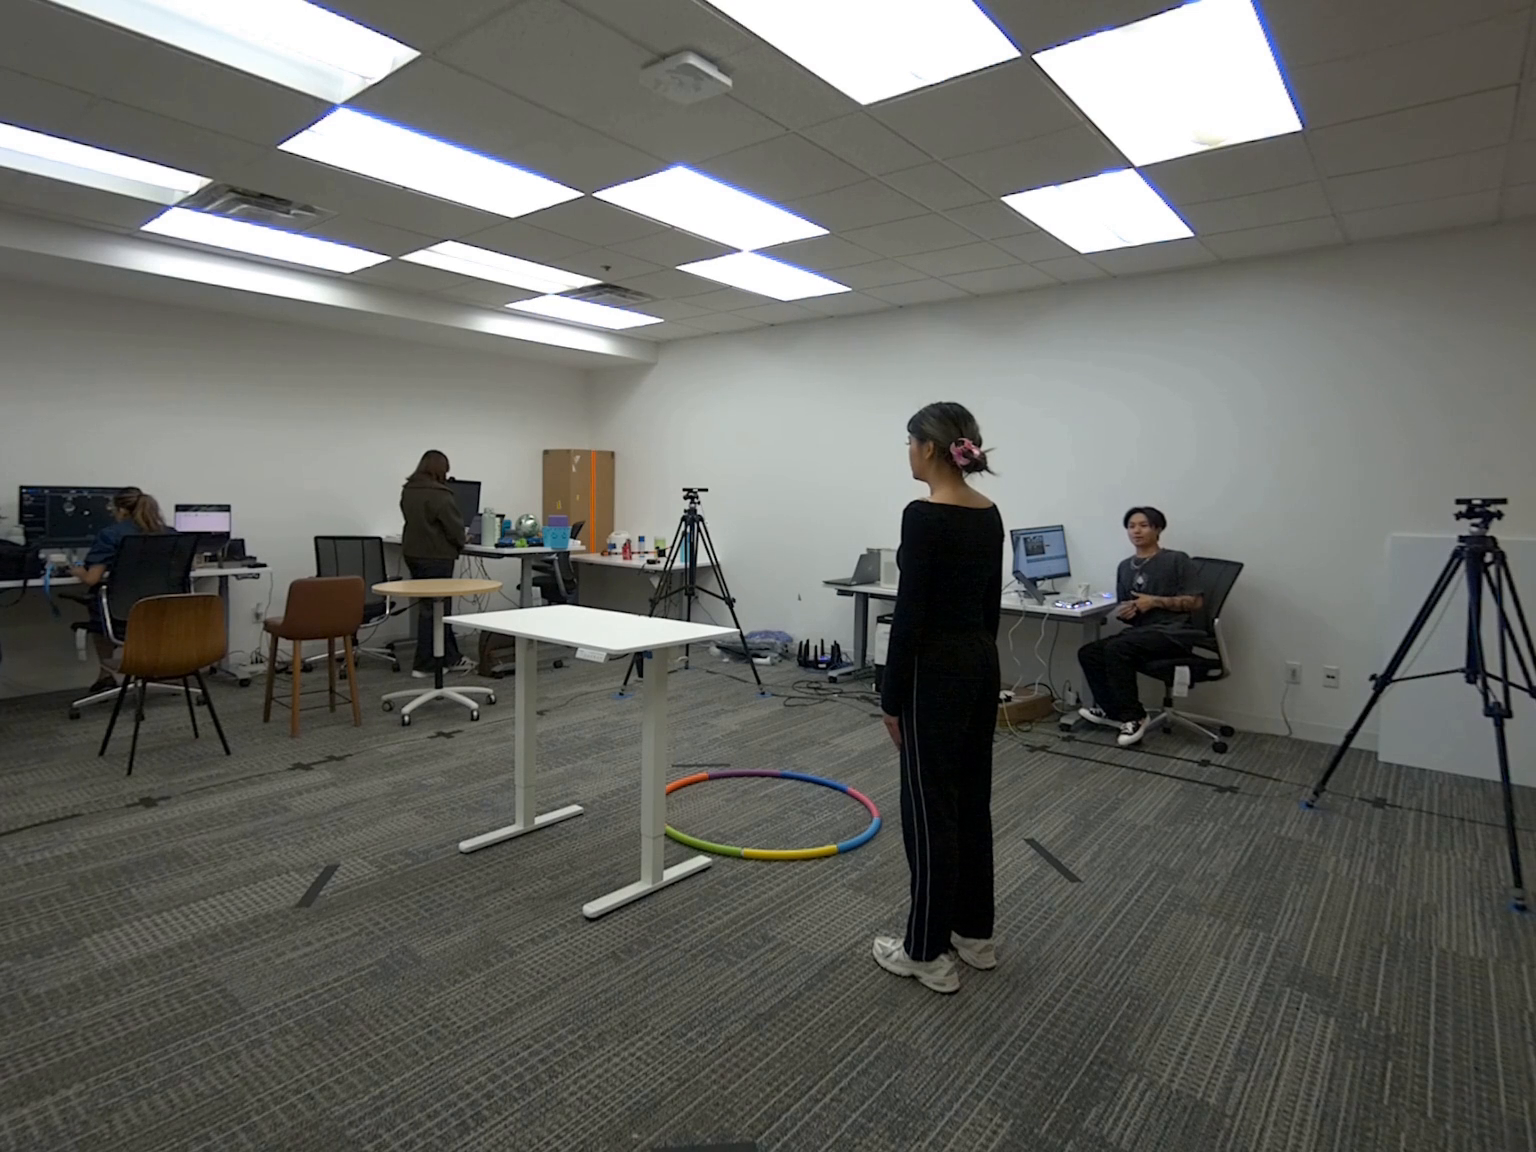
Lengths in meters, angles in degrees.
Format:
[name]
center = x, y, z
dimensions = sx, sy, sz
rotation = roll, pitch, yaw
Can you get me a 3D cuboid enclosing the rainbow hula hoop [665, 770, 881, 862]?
[rainbow hula hoop]
center = -0.030, 0.989, 3.665
dimensions = 0.978, 0.035, 0.984
rotation = 1, 6, -2
